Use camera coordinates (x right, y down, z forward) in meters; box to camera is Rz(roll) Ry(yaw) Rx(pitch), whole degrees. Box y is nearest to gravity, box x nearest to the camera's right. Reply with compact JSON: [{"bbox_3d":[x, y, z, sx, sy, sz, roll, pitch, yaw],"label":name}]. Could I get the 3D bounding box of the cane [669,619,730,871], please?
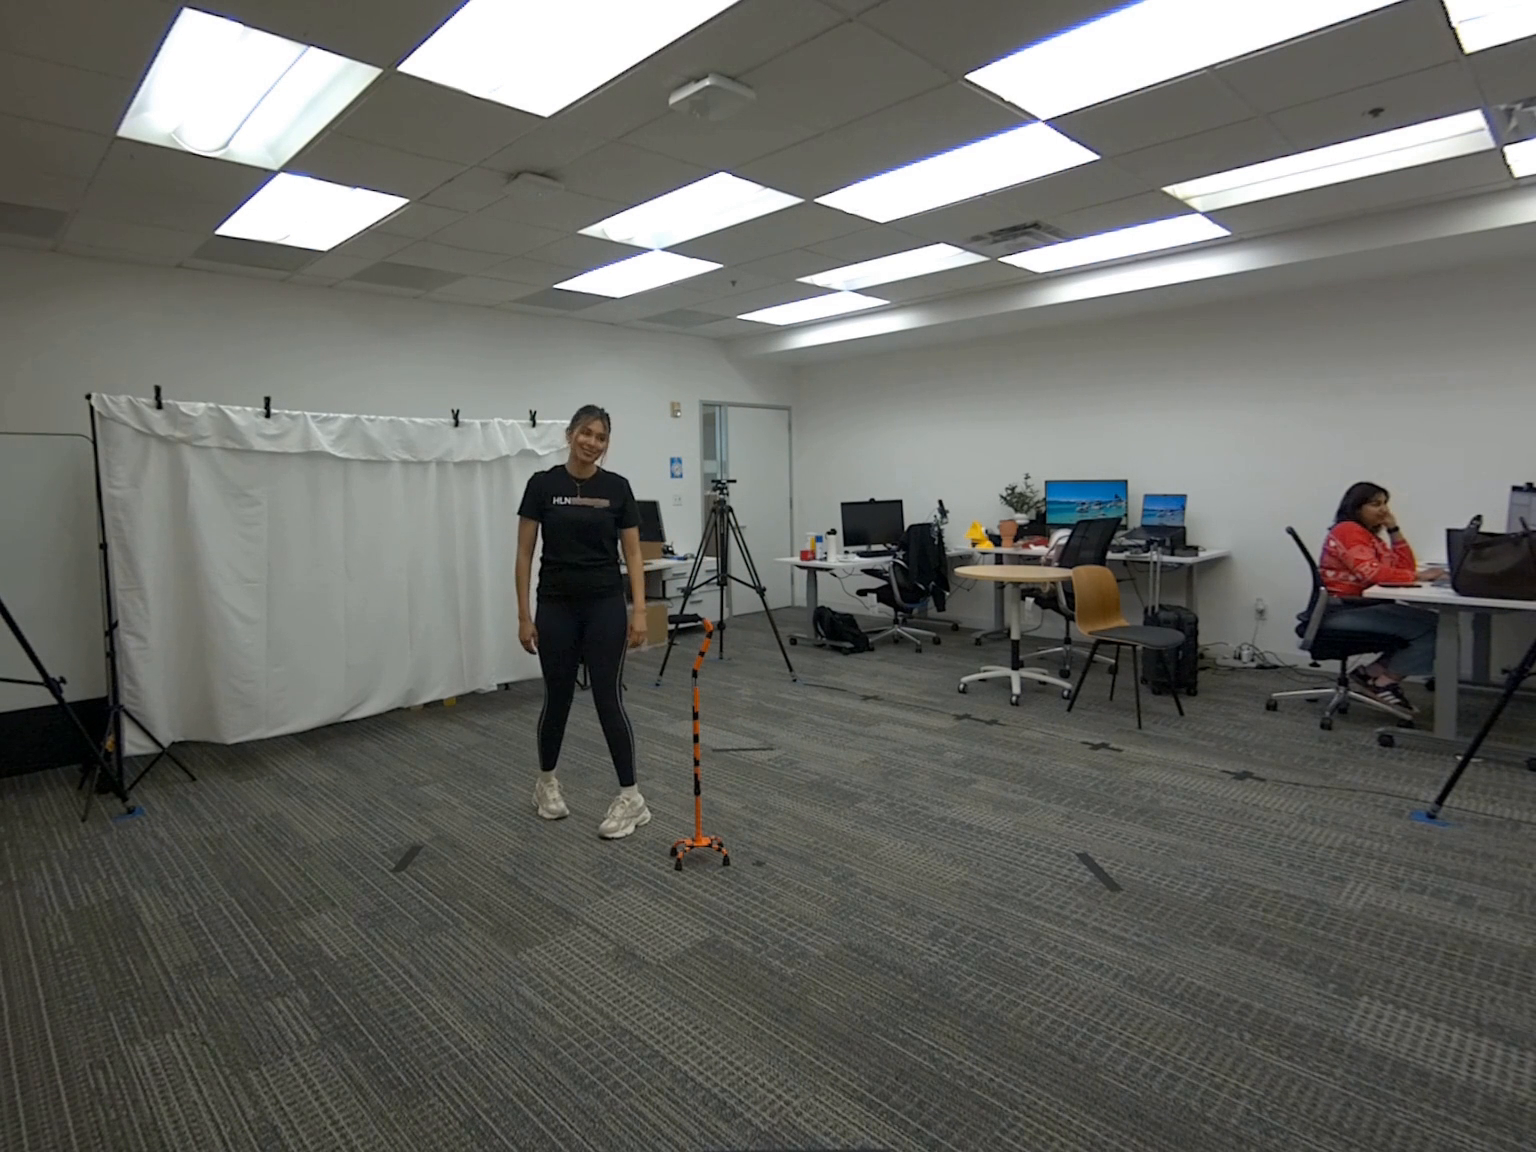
[{"bbox_3d":[-0.259,0.597,3.124,0.204,0.905,0.154,-2,3,-14],"label":"cane"}]
